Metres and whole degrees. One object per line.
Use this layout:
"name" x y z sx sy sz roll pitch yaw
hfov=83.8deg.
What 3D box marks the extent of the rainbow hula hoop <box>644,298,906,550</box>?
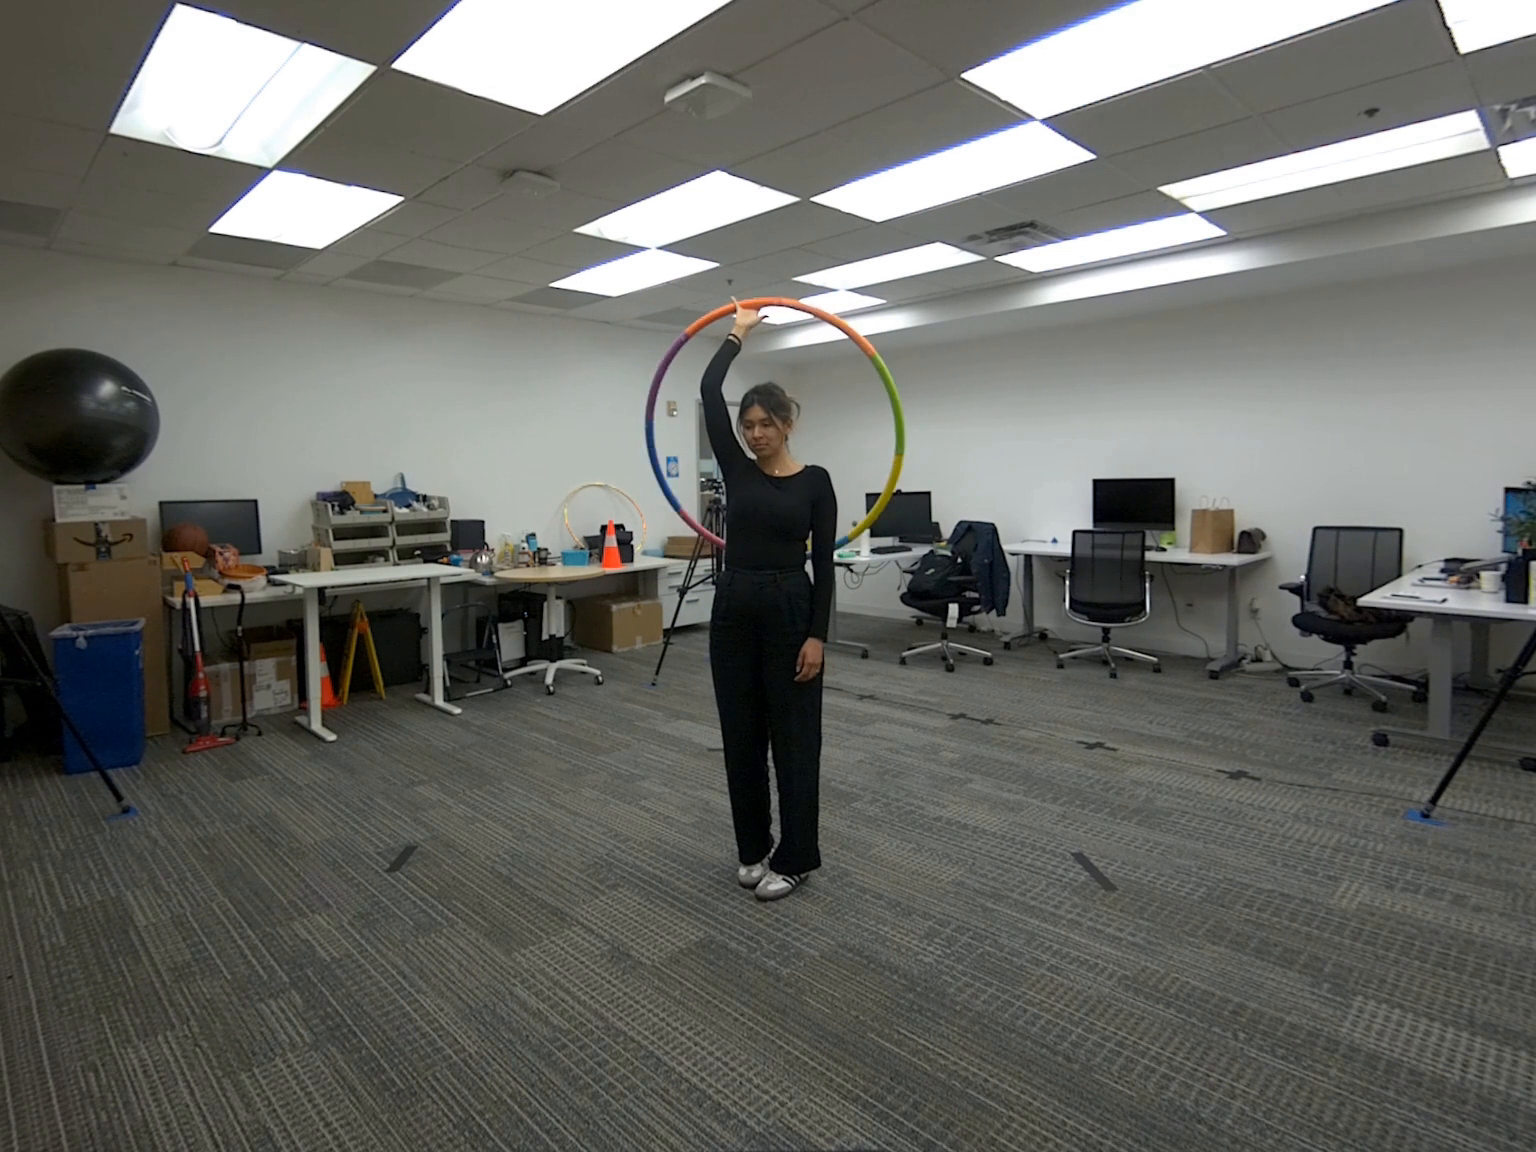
"rainbow hula hoop" 0.001 -0.518 3.152 1.001 0.968 0.051 1 18 17
